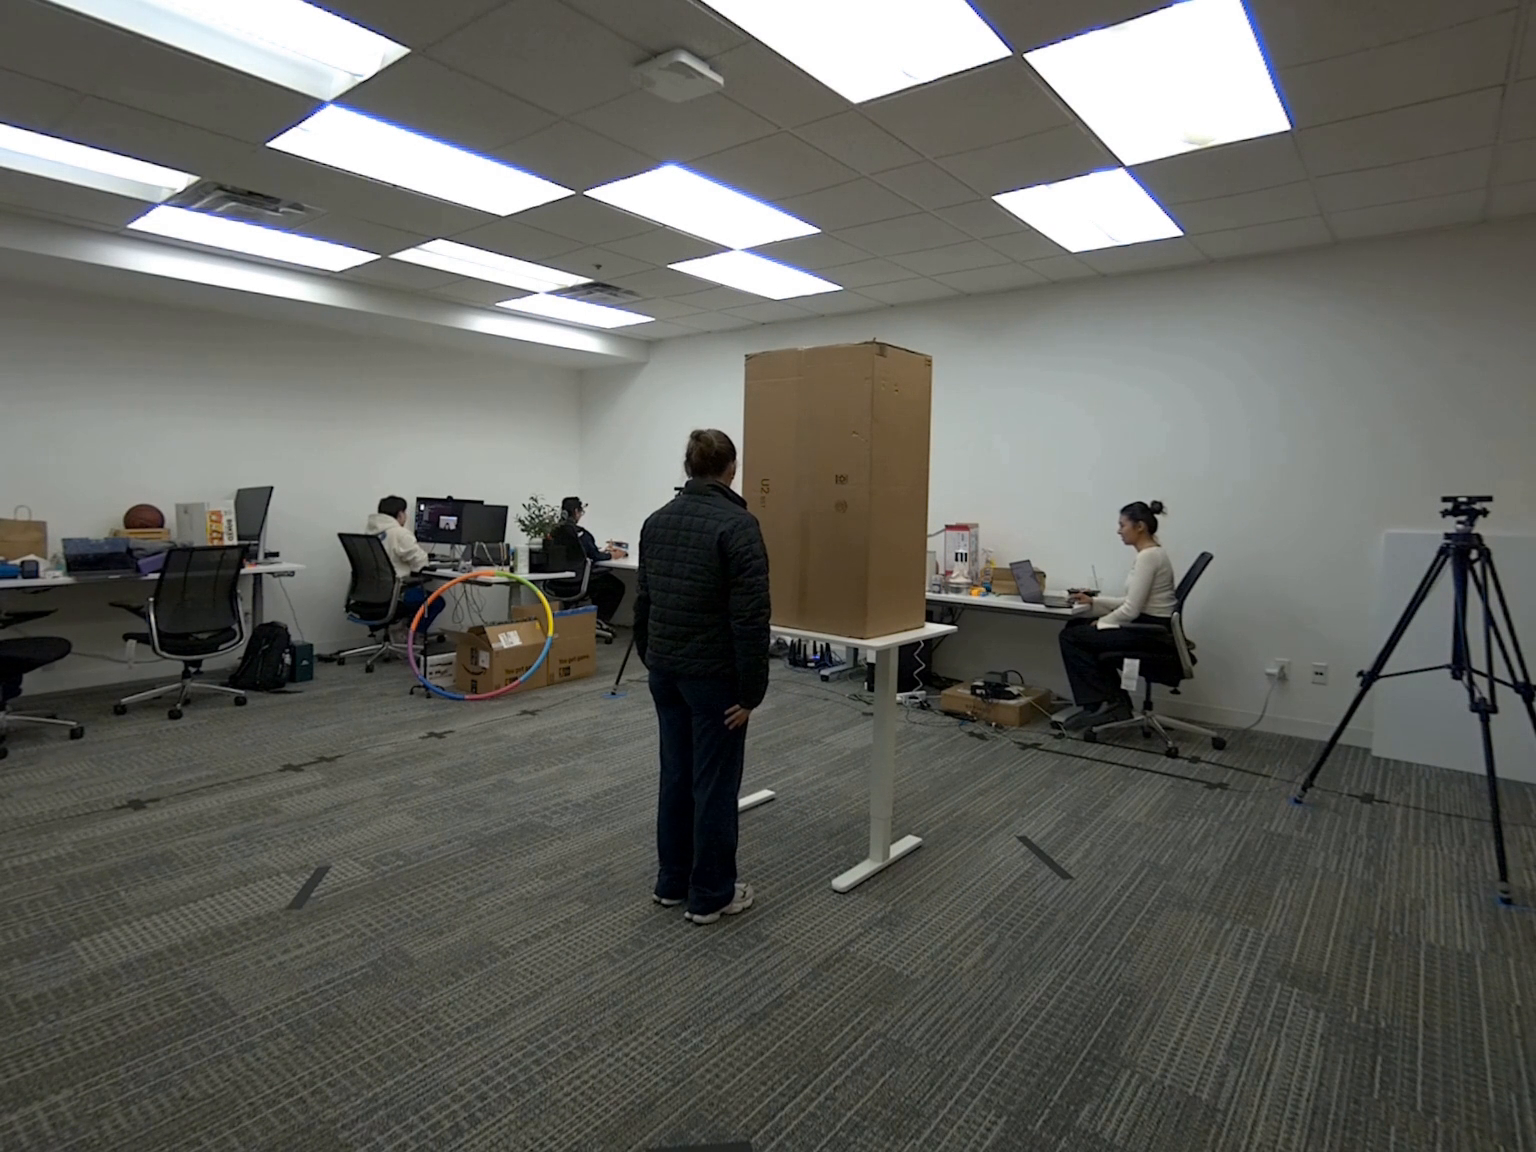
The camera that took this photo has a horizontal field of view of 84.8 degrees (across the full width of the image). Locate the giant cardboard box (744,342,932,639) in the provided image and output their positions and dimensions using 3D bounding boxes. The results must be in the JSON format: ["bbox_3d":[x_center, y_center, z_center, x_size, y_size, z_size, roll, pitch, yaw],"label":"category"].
[{"bbox_3d":[0.270,-0.330,3.240,0.604,1.024,0.433,5,4,42],"label":"giant cardboard box"}]
